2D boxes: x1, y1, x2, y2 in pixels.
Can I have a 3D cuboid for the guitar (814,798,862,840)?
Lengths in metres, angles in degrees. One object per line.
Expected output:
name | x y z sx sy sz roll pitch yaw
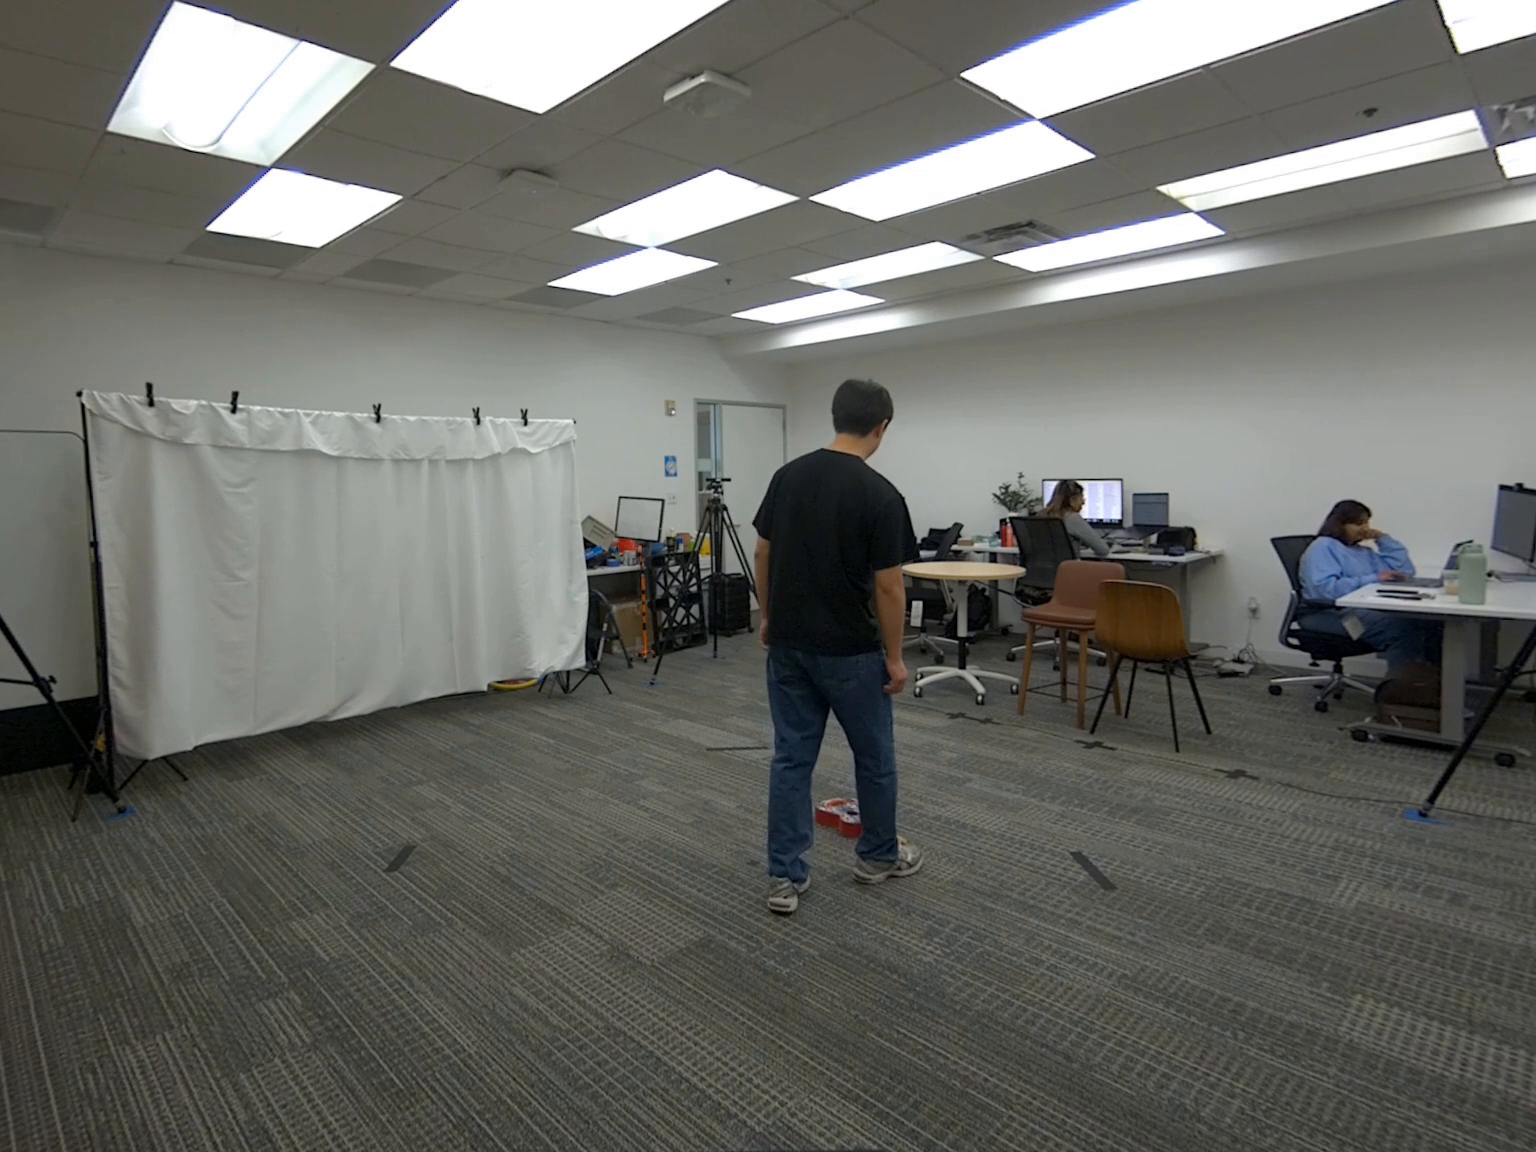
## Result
guitar | 0.349 0.976 3.324 0.190 0.070 0.508 -2 6 -20
